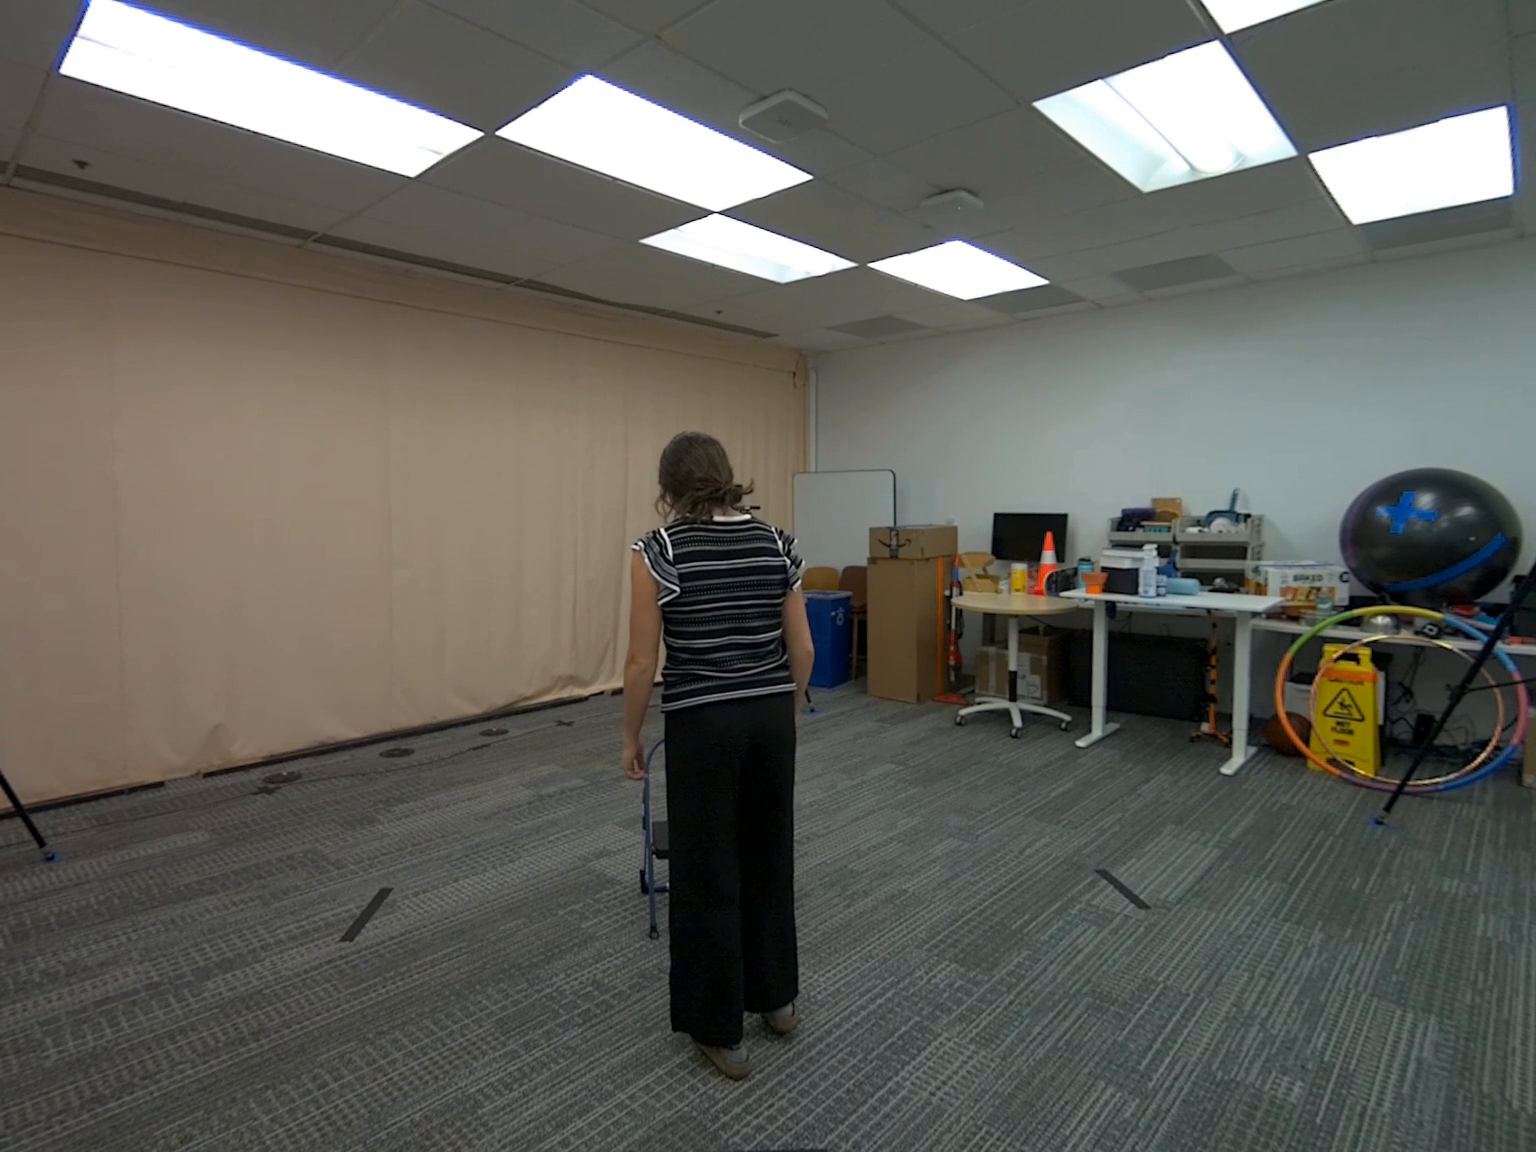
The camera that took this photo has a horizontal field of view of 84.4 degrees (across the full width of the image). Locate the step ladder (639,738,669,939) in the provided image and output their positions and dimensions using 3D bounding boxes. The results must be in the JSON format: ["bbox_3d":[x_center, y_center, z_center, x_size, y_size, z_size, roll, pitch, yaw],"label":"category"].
[{"bbox_3d":[-0.220,0.854,2.908,0.425,0.605,0.355,-1,4,-13],"label":"step ladder"}]
